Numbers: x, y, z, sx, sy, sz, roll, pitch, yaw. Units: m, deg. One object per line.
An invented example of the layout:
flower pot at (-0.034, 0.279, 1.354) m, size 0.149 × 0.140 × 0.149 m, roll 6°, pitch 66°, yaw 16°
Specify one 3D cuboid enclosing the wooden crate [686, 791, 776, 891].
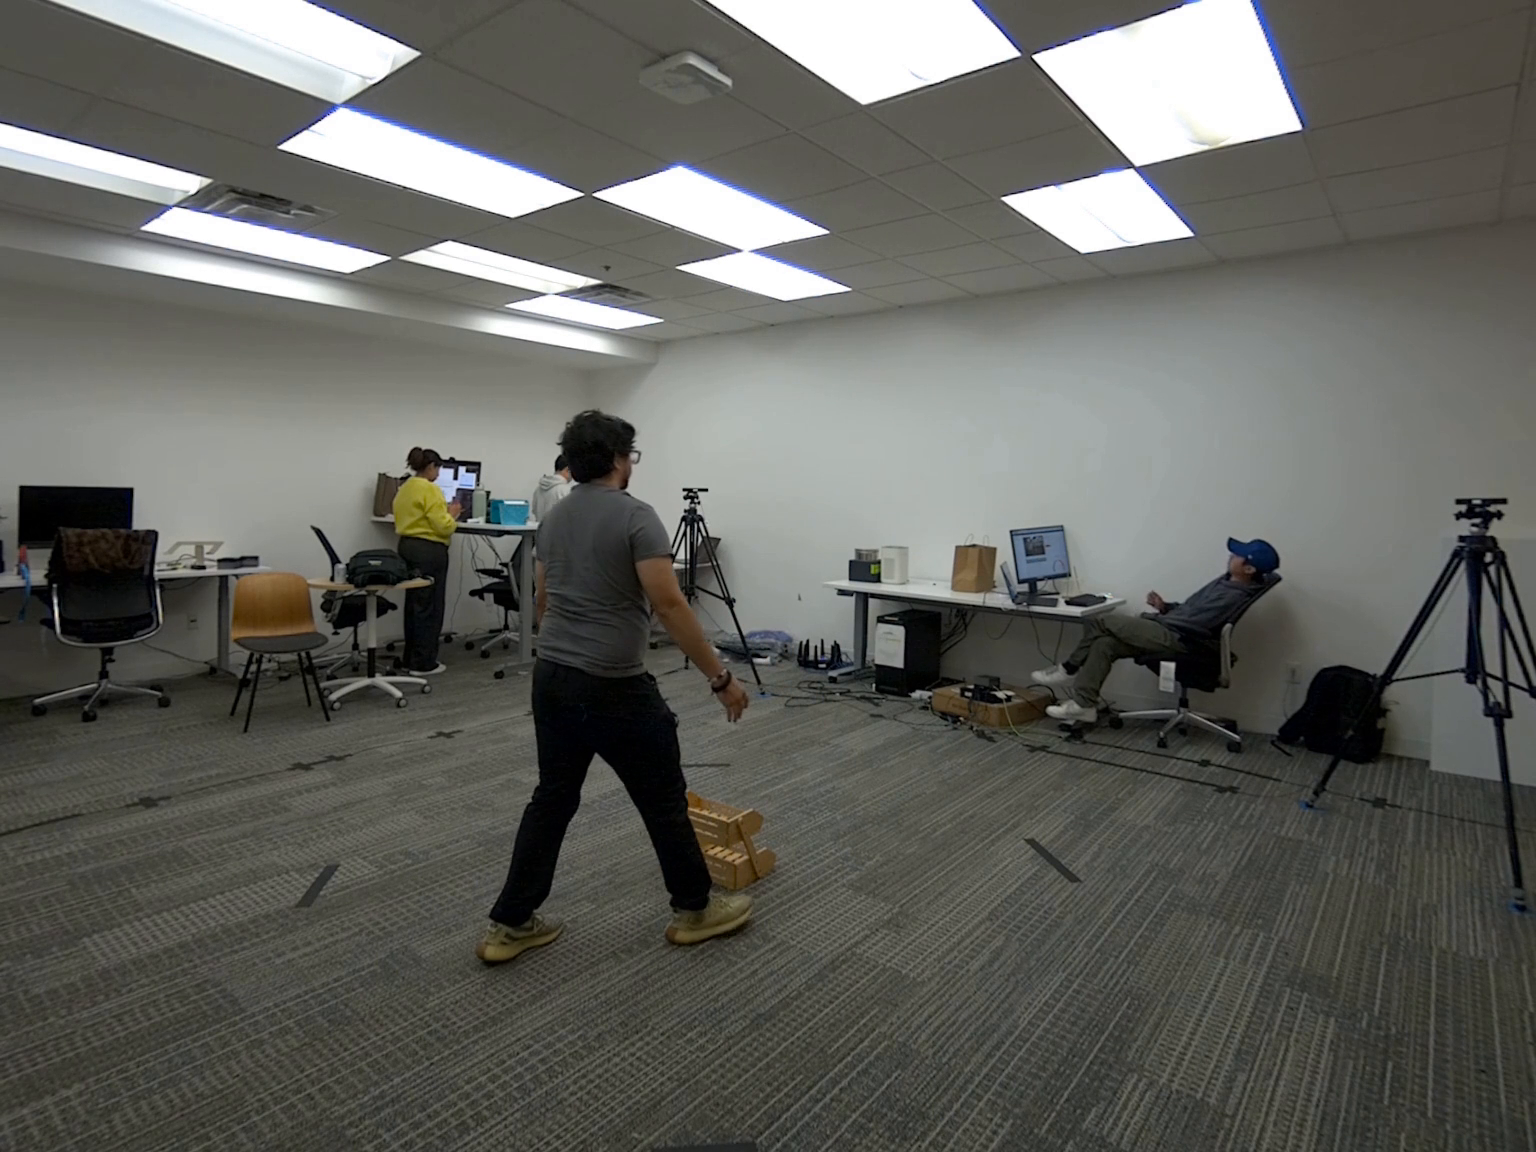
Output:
wooden crate at (-0.183, 0.937, 3.108) m, size 0.335 × 0.272 × 0.293 m, roll 4°, pitch 5°, yaw 36°
